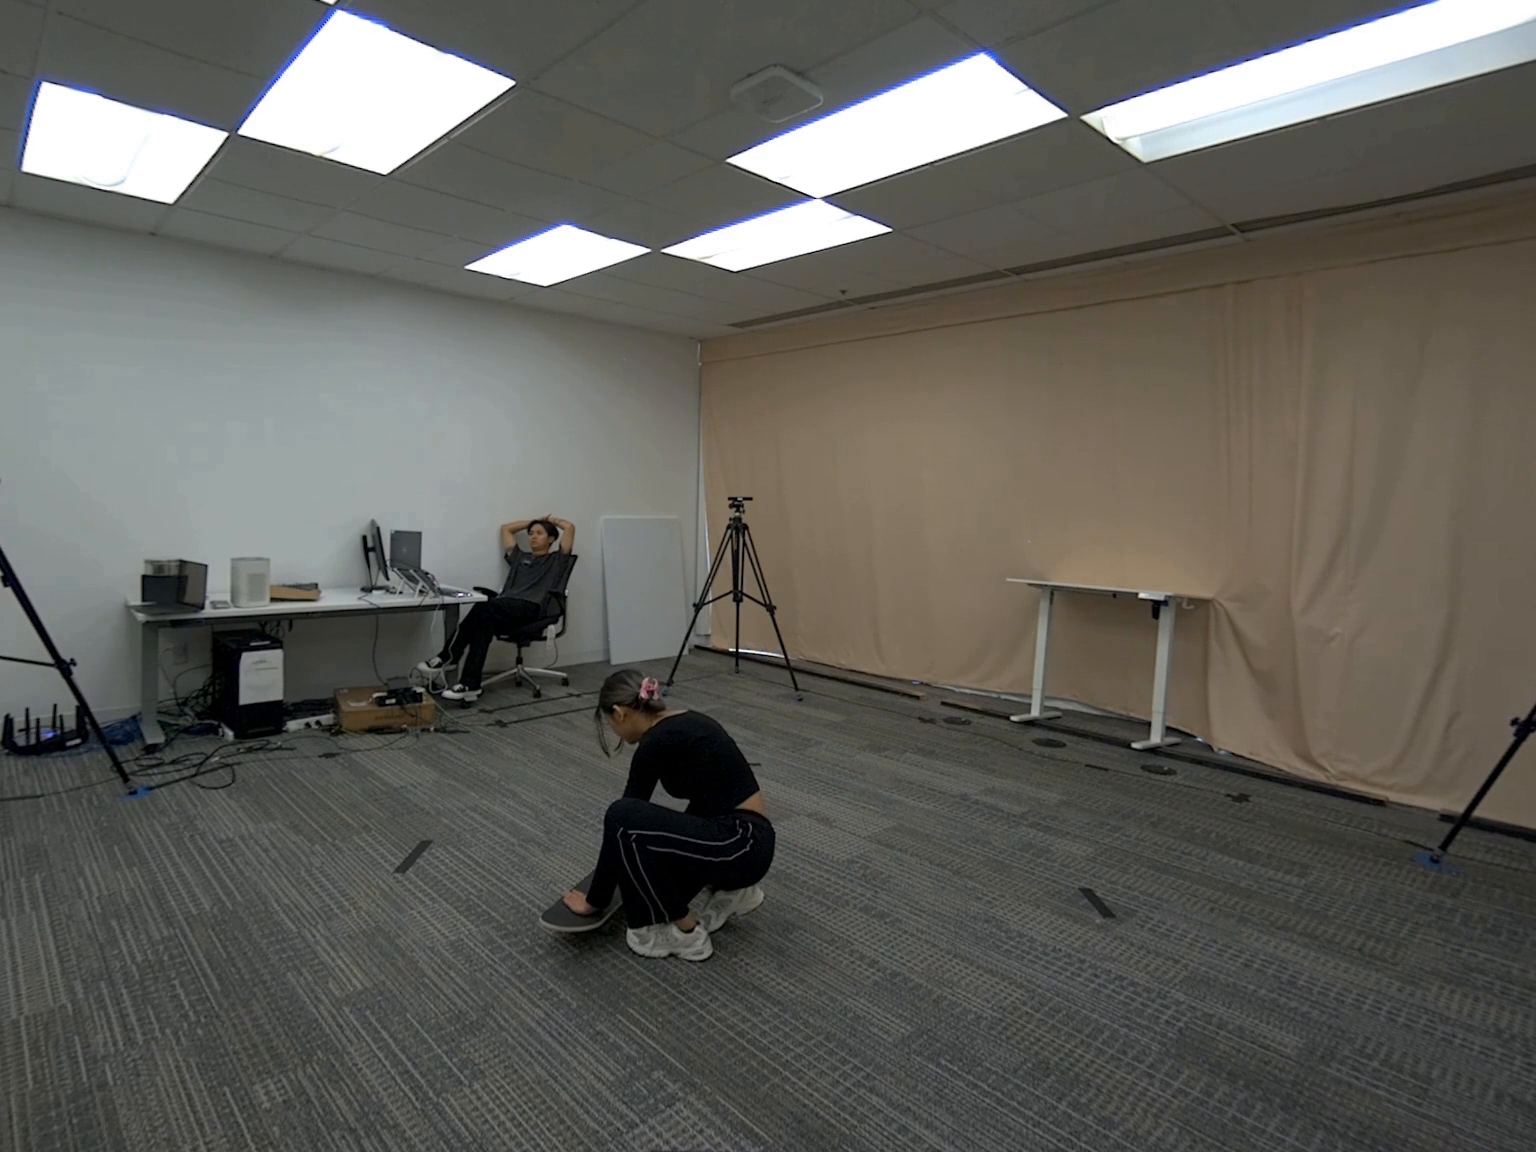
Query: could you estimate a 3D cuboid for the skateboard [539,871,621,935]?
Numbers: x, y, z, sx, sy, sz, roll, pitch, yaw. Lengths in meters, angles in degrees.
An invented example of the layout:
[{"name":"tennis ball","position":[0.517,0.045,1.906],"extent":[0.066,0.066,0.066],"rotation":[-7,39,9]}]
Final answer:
[{"name":"skateboard","position":[-0.522,1.061,2.883],"extent":[0.196,0.110,0.776],"rotation":[3,6,17]}]
